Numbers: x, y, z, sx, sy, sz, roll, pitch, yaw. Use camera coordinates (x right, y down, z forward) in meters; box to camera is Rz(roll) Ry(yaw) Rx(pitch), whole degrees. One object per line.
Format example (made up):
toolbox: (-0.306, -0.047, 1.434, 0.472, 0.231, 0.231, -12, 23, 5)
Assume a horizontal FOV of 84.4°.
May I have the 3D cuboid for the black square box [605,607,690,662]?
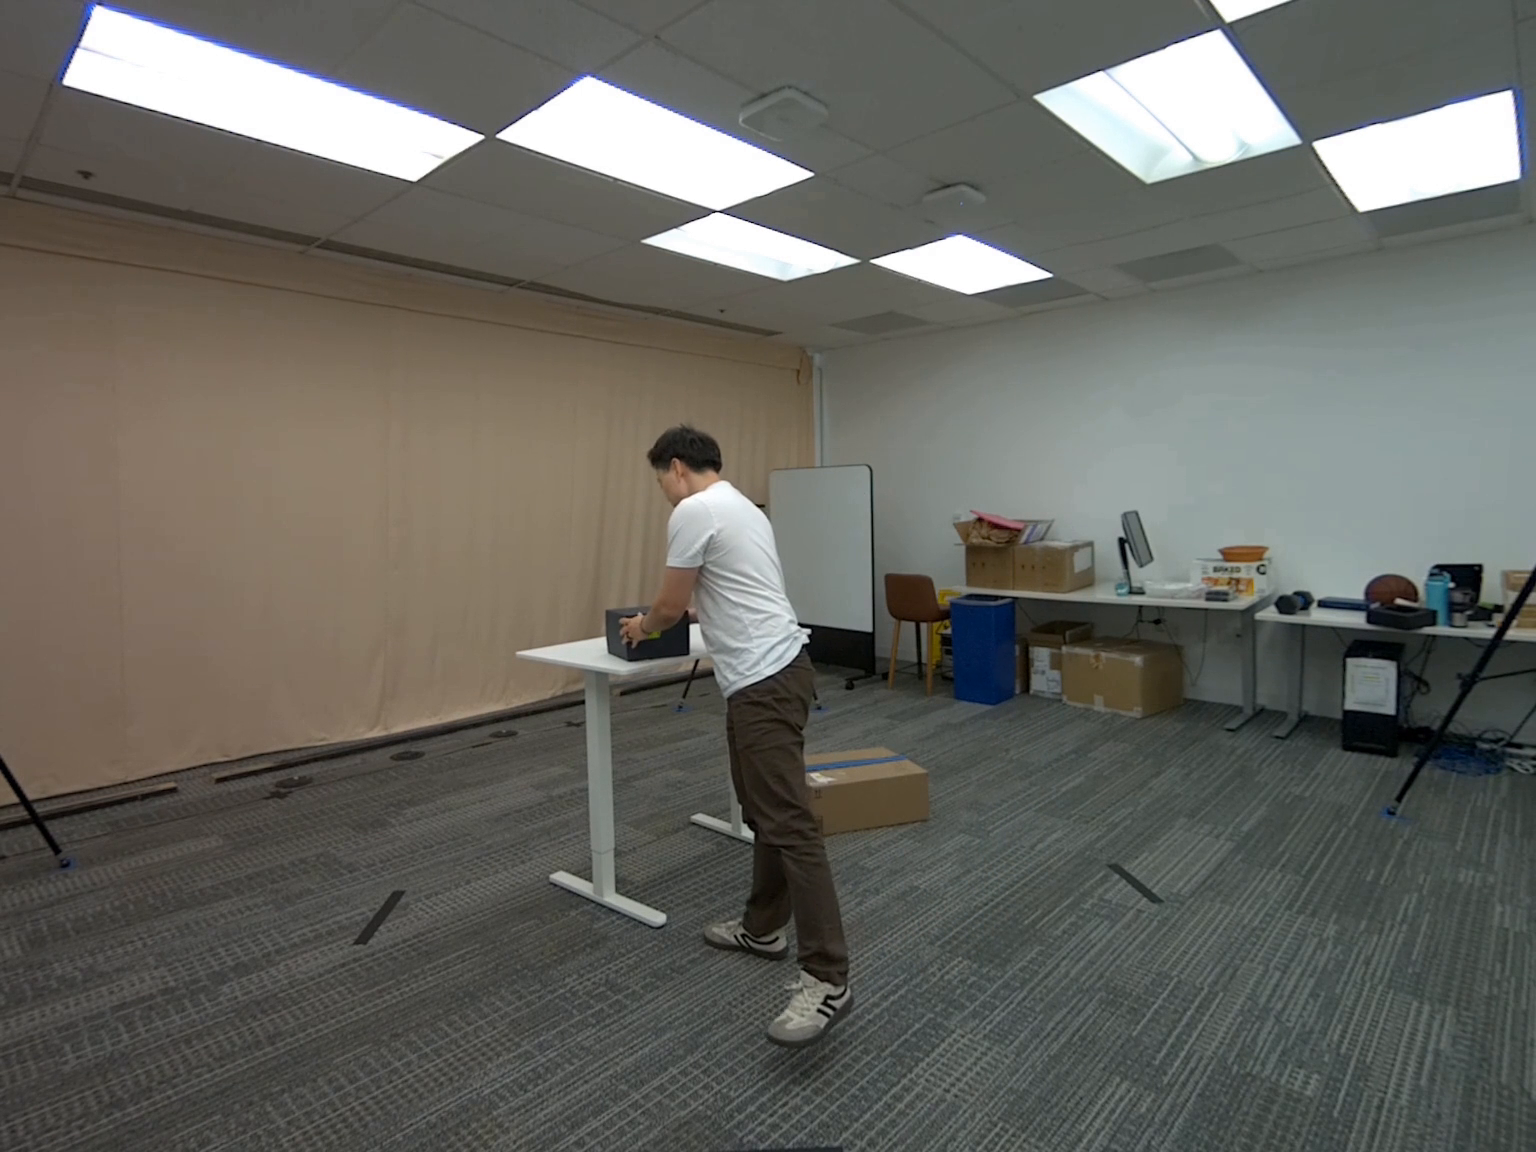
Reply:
black square box: (-0.416, 0.198, 2.916, 0.222, 0.155, 0.223, -4, 5, -29)
